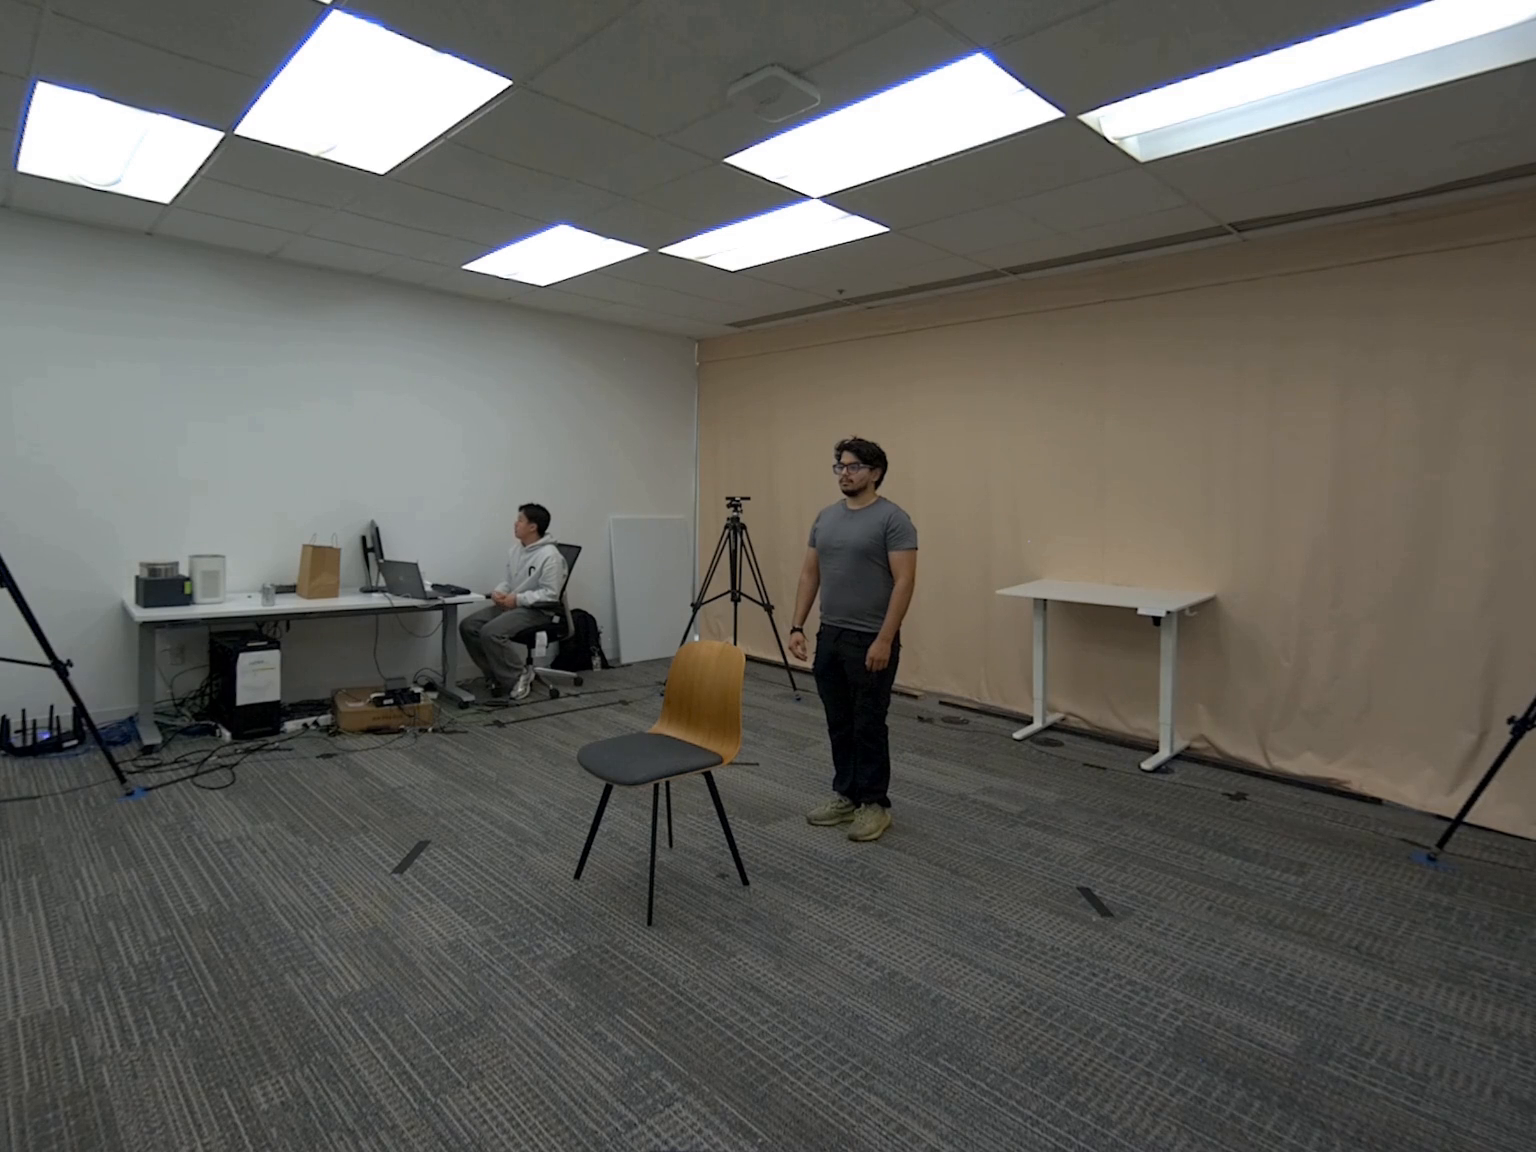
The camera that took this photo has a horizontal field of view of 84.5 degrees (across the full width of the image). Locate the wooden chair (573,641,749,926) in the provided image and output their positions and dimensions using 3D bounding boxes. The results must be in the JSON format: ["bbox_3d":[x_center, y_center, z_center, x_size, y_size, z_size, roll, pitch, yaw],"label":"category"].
[{"bbox_3d":[-0.385,0.683,3.001,0.510,0.877,0.490,4,1,-44],"label":"wooden chair"}]
